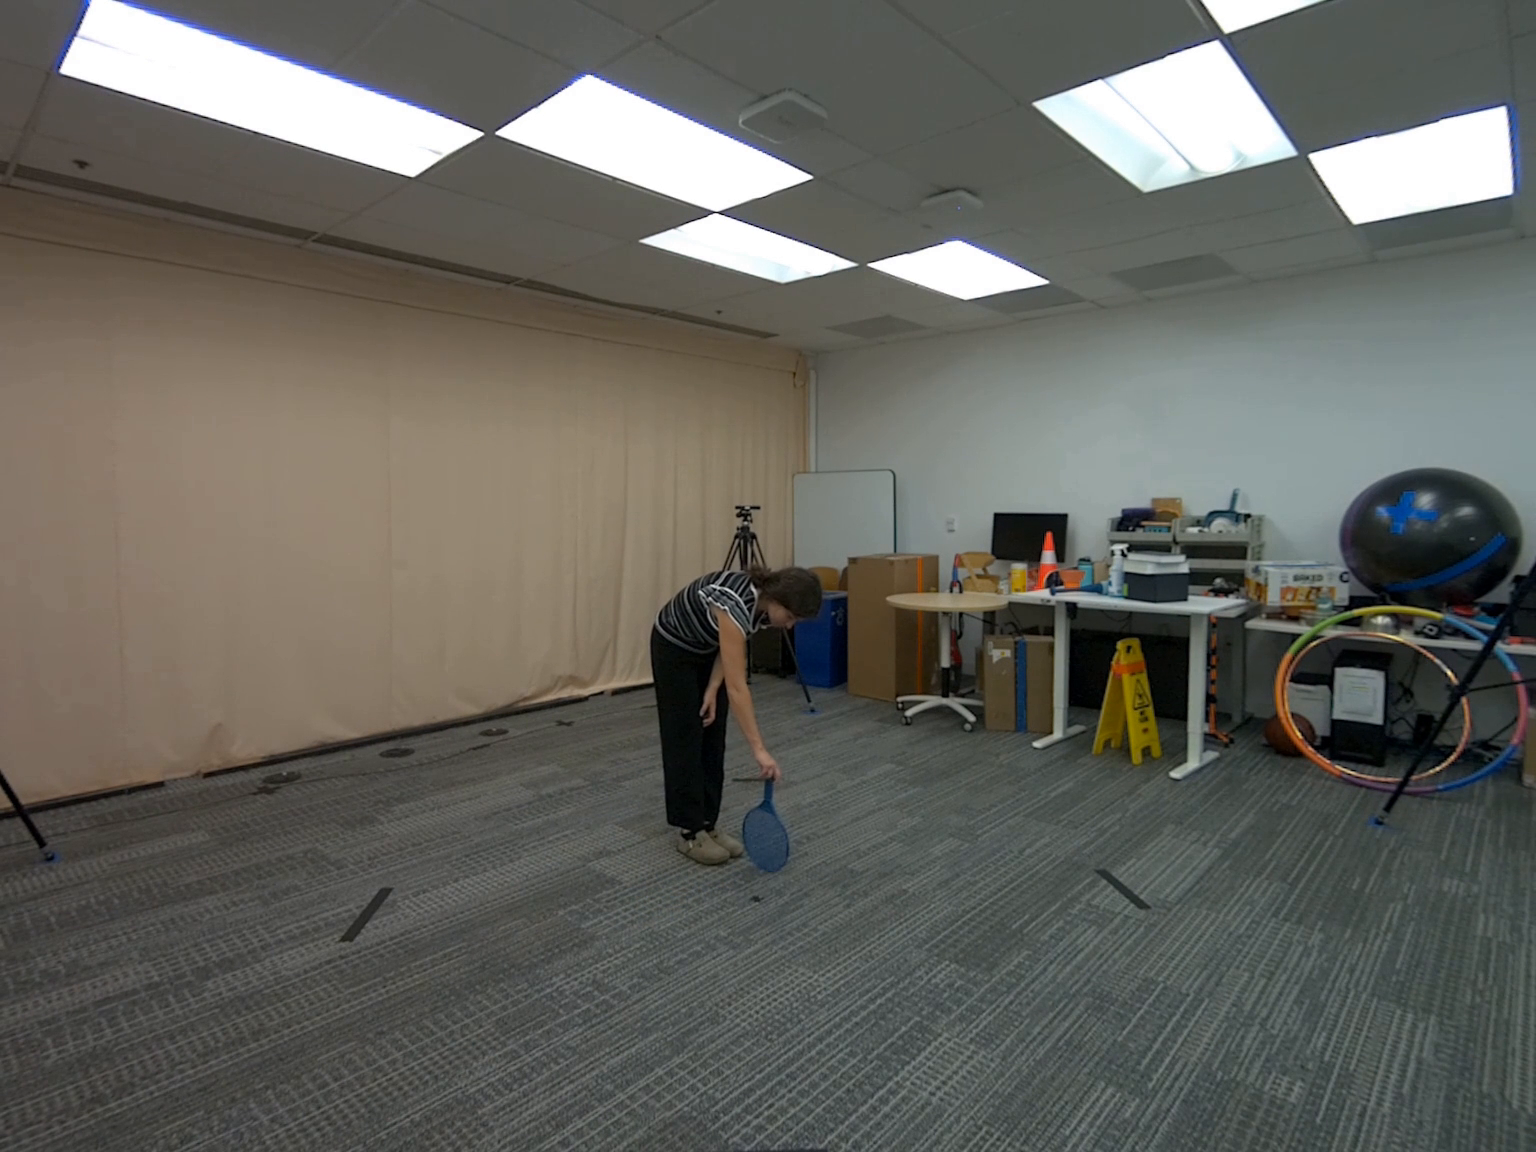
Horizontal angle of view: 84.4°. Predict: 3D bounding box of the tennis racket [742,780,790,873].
[{"bbox_3d":[-0.010,0.916,3.159,0.221,0.429,0.031,12,19,35],"label":"tennis racket"}]
